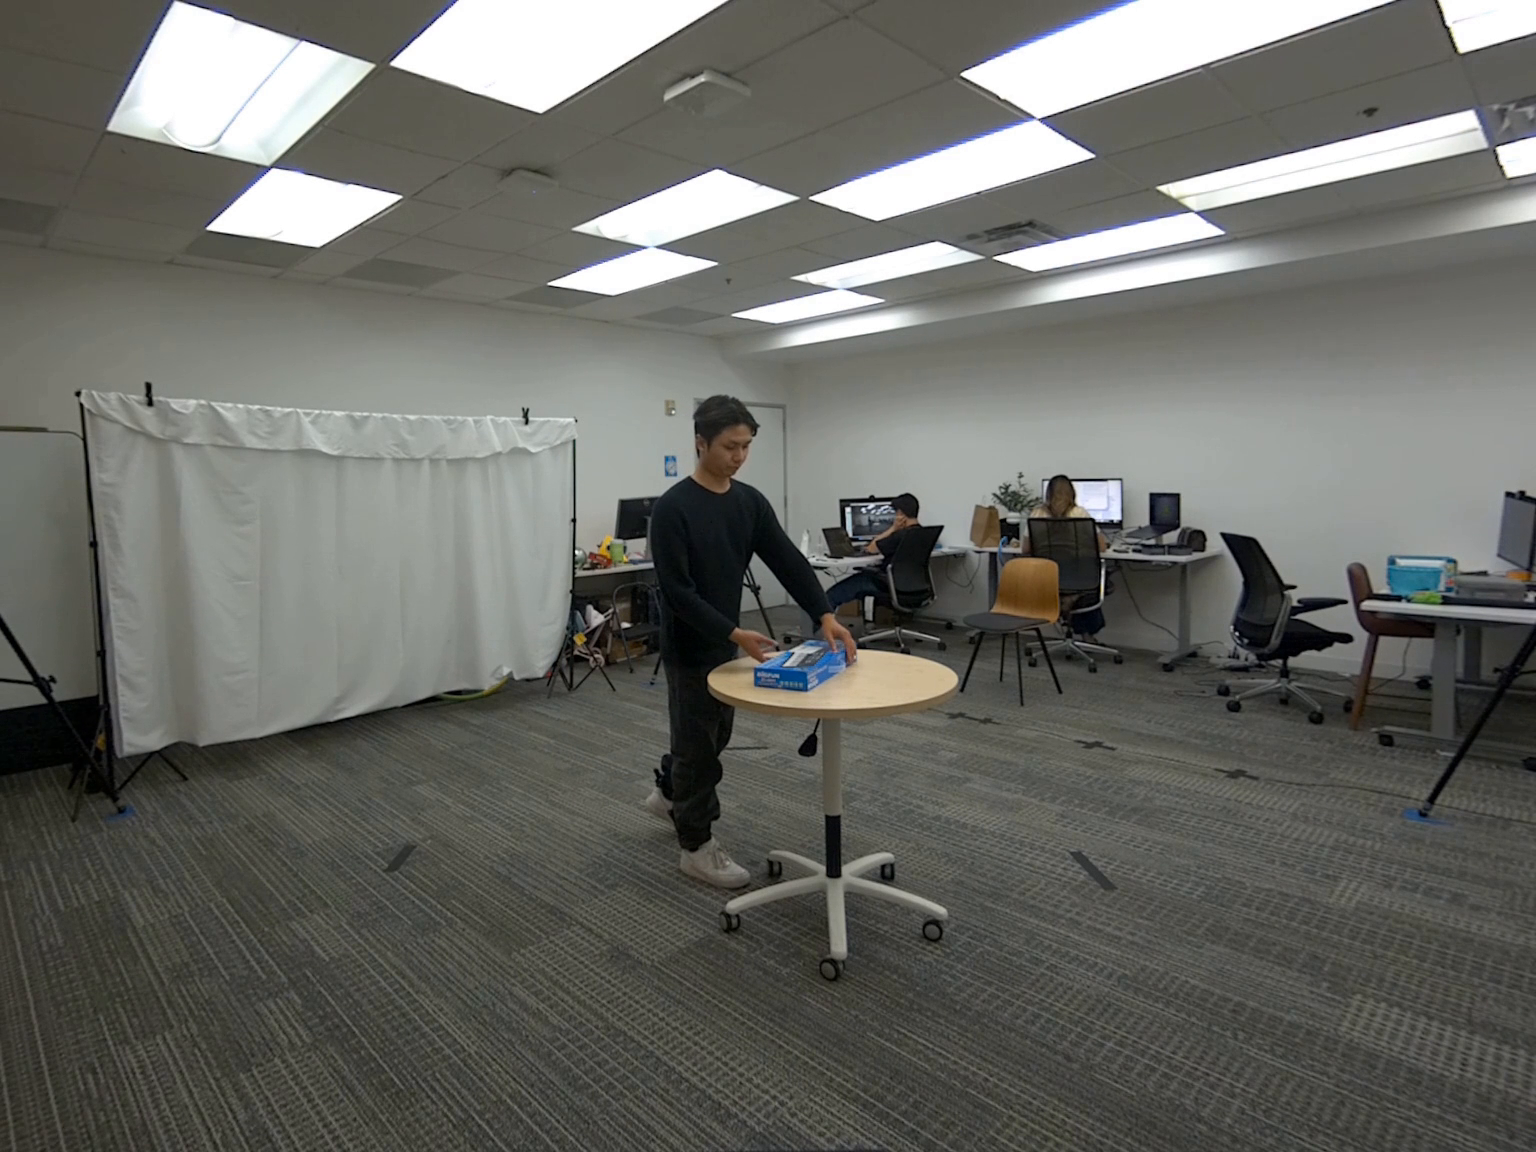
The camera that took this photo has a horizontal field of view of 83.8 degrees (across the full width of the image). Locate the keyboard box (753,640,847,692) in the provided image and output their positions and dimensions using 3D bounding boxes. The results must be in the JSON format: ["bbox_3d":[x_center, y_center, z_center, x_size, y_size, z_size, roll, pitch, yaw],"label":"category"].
[{"bbox_3d":[0.125,0.276,2.678,0.180,0.059,0.428,2,7,26],"label":"keyboard box"}]
